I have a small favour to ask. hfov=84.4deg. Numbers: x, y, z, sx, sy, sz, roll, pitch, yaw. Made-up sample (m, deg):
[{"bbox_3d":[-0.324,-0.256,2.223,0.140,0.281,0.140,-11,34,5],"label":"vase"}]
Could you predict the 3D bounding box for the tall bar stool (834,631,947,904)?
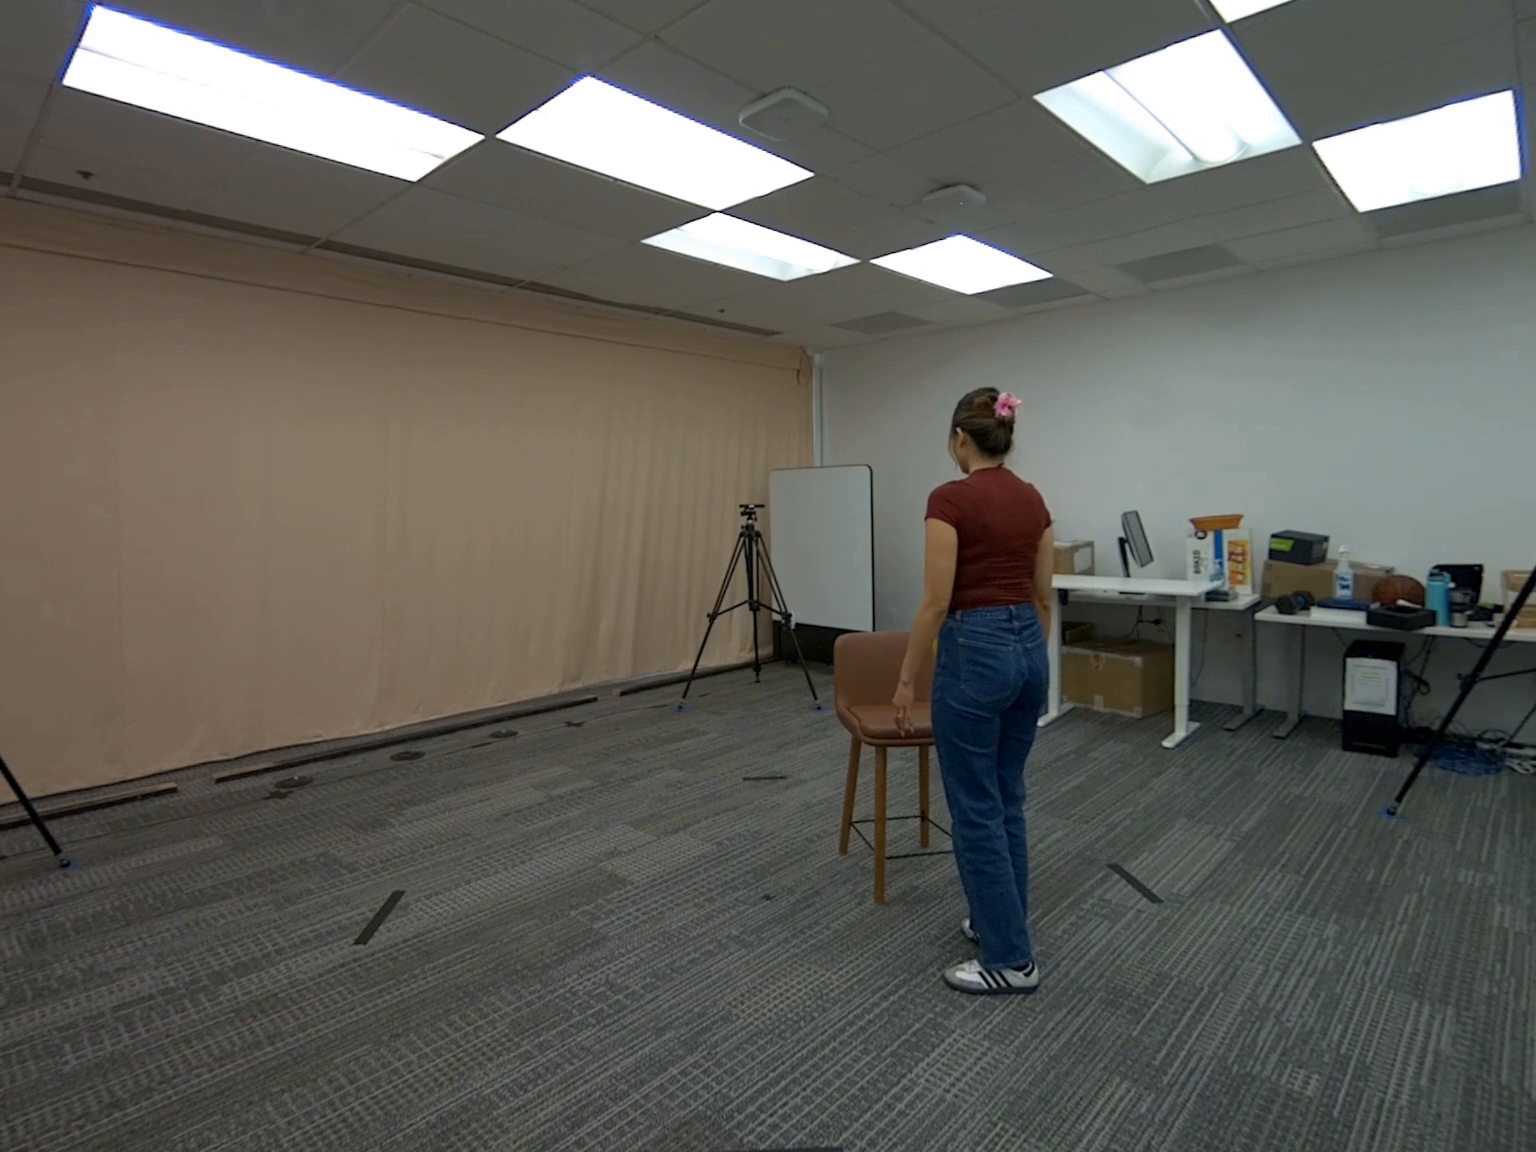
[{"bbox_3d":[0.517,0.681,3.149,0.450,0.889,0.474,-1,2,-14],"label":"tall bar stool"}]
